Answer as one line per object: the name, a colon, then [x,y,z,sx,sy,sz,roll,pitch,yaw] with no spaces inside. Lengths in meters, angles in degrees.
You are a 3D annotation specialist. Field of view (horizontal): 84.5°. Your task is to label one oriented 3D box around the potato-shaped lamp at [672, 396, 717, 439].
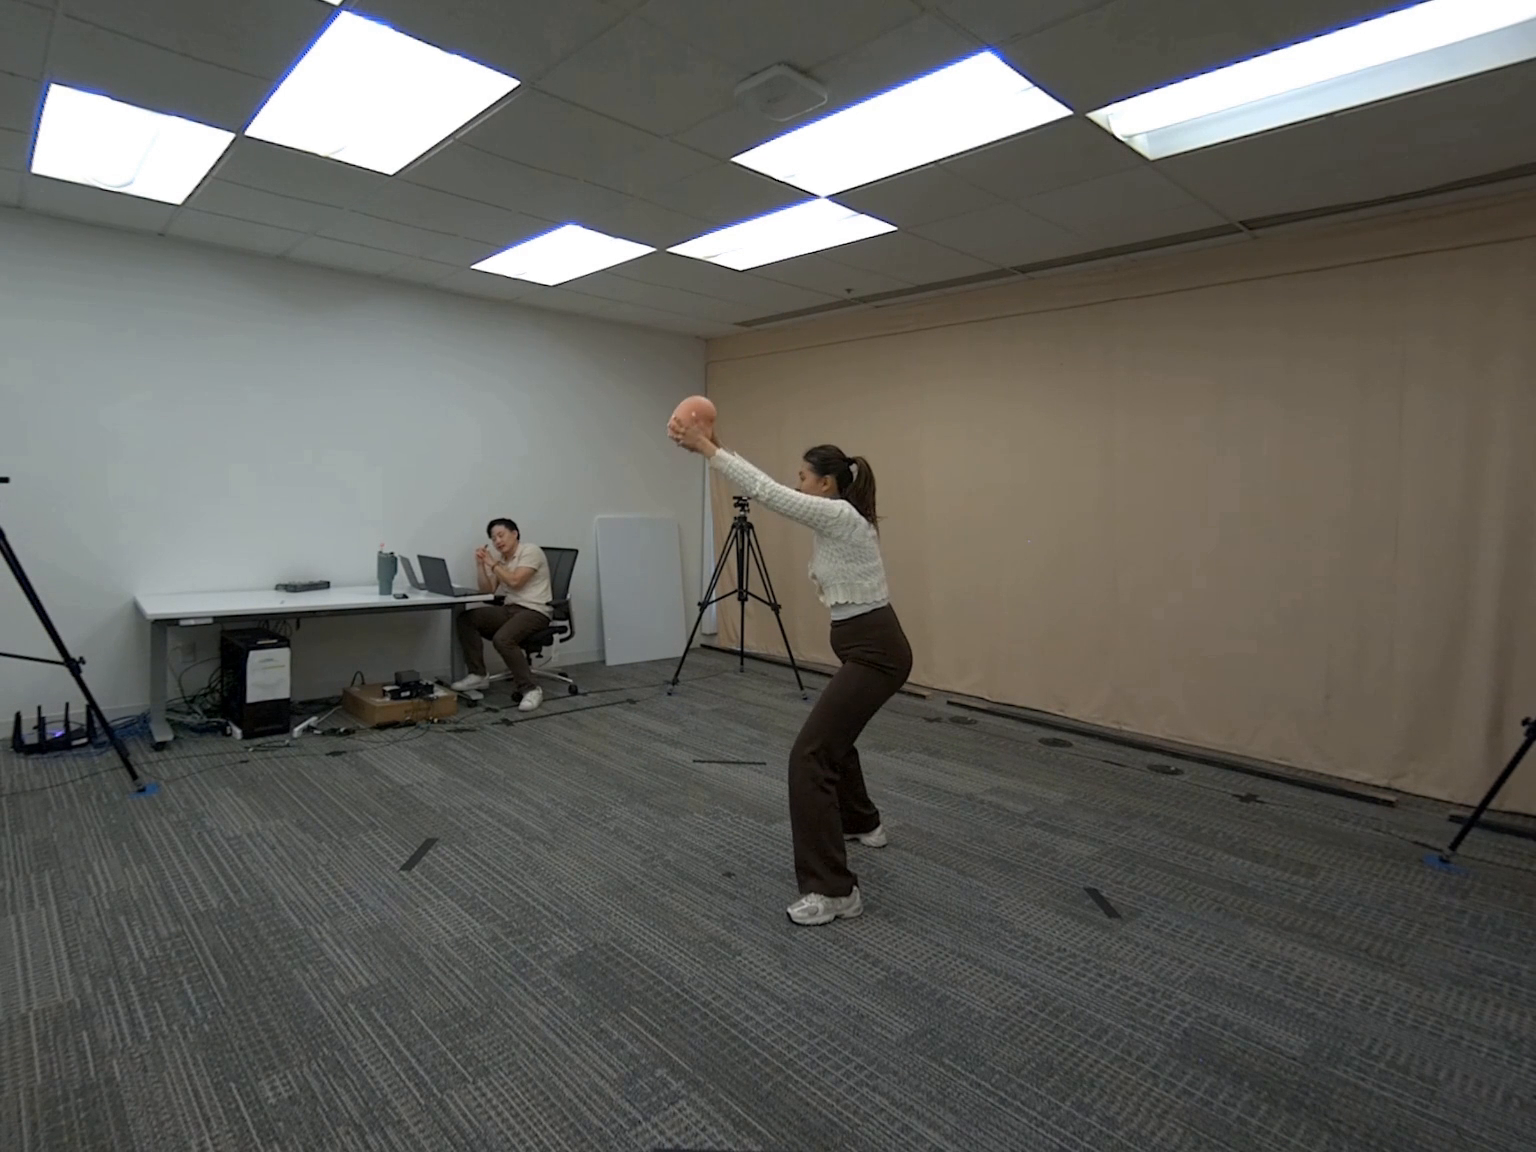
potato-shaped lamp: [-0.280,-0.571,3.171,0.174,0.198,0.162,35,8,13]
